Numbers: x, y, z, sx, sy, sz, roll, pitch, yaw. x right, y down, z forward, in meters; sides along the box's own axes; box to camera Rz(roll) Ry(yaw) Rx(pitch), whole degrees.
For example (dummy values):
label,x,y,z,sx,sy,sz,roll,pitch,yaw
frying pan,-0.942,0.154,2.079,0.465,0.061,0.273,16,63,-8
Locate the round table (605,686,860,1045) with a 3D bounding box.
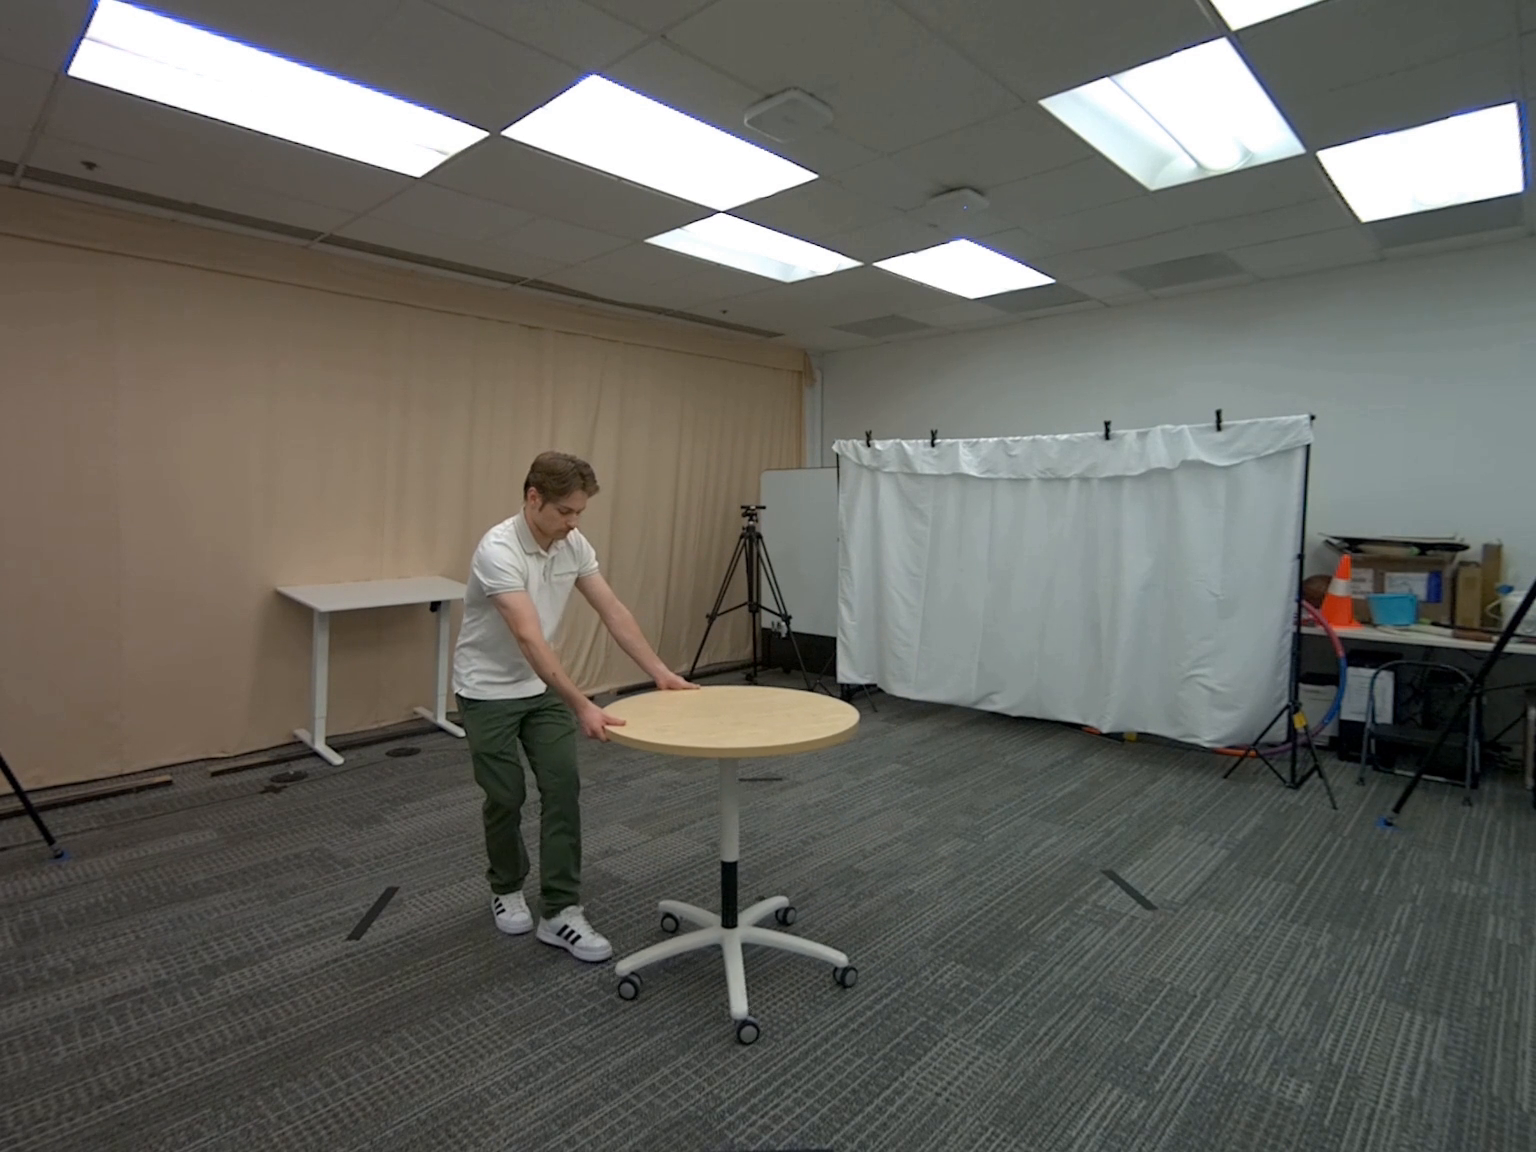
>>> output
label,x,y,z,sx,sy,sz,roll,pitch,yaw
round table,-0.122,0.792,2.506,0.784,0.785,0.787,0,3,-2
